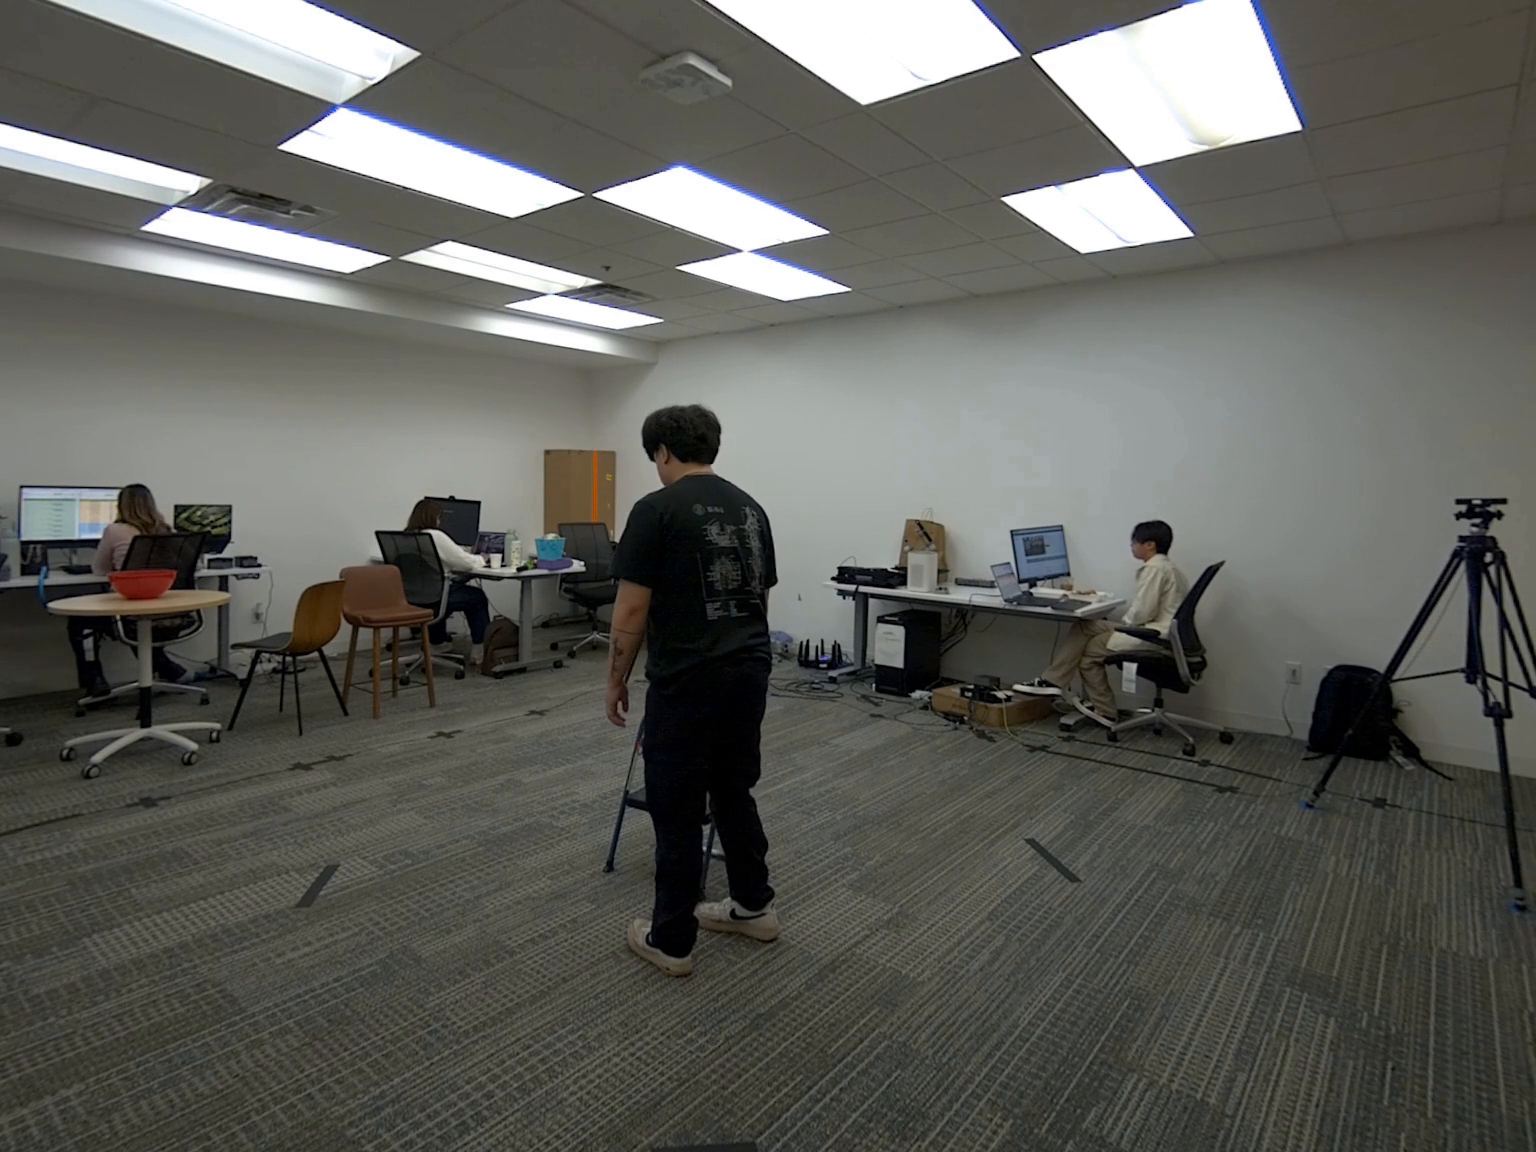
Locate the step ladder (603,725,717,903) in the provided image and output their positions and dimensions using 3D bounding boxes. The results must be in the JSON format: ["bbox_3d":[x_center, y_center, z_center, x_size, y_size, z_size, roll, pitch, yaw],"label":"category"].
[{"bbox_3d":[-0.334,0.760,3.101,0.443,0.604,0.340,3,4,30],"label":"step ladder"}]
